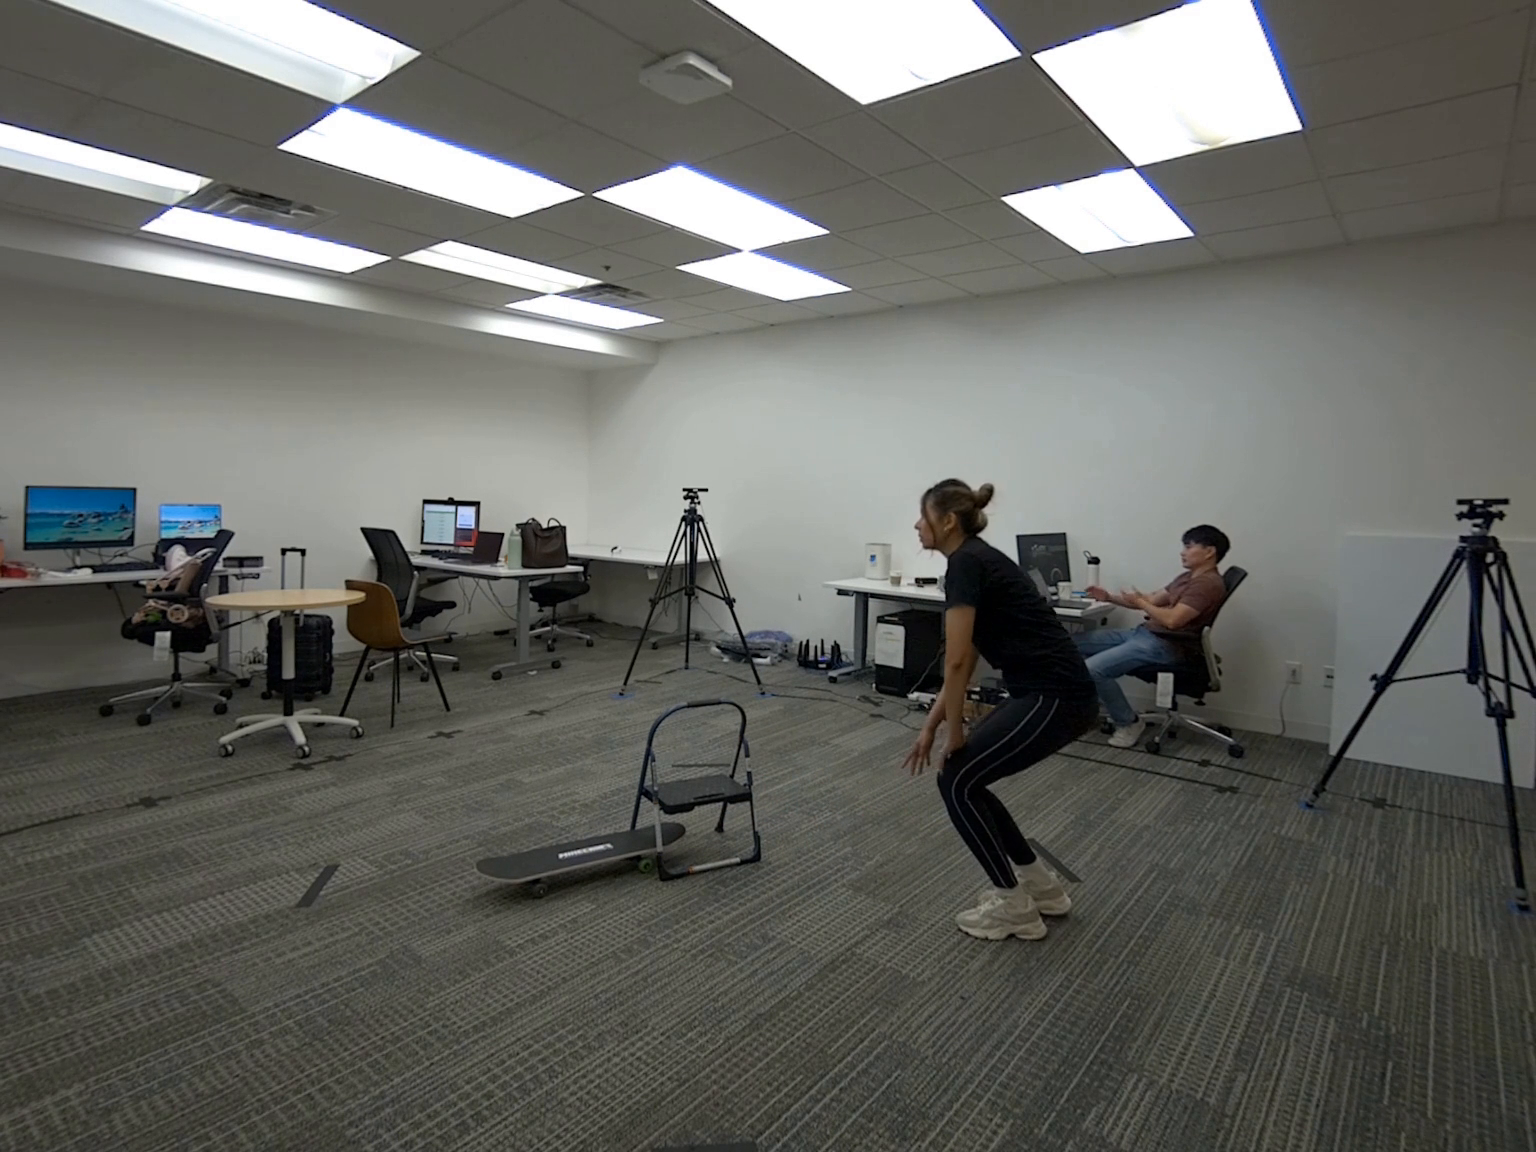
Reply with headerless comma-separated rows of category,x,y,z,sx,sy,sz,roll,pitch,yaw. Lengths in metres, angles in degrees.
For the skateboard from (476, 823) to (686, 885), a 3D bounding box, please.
skateboard,-0.660,1.010,3.043,0.764,0.110,0.200,-3,7,-31
